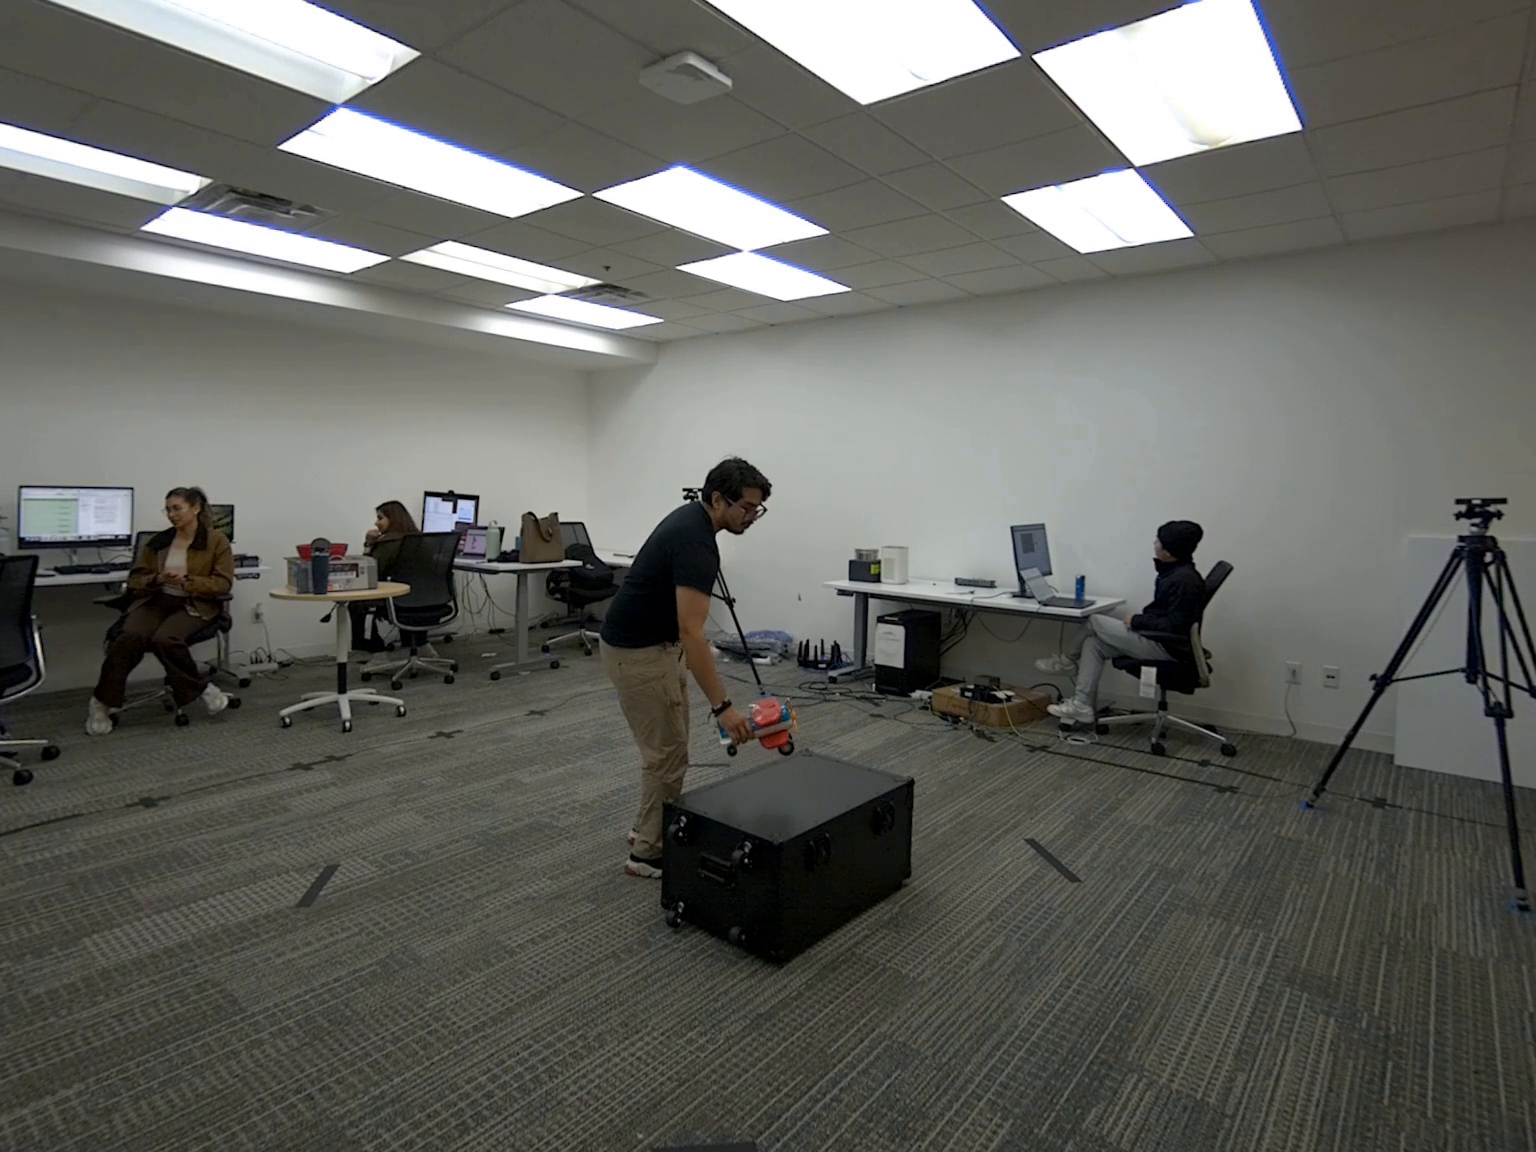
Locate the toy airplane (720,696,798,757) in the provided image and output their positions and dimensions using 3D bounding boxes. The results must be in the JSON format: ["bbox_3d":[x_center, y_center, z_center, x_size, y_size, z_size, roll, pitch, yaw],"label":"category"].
[{"bbox_3d":[-0.039,0.501,2.778,0.253,0.156,0.259,-4,7,-30],"label":"toy airplane"}]
